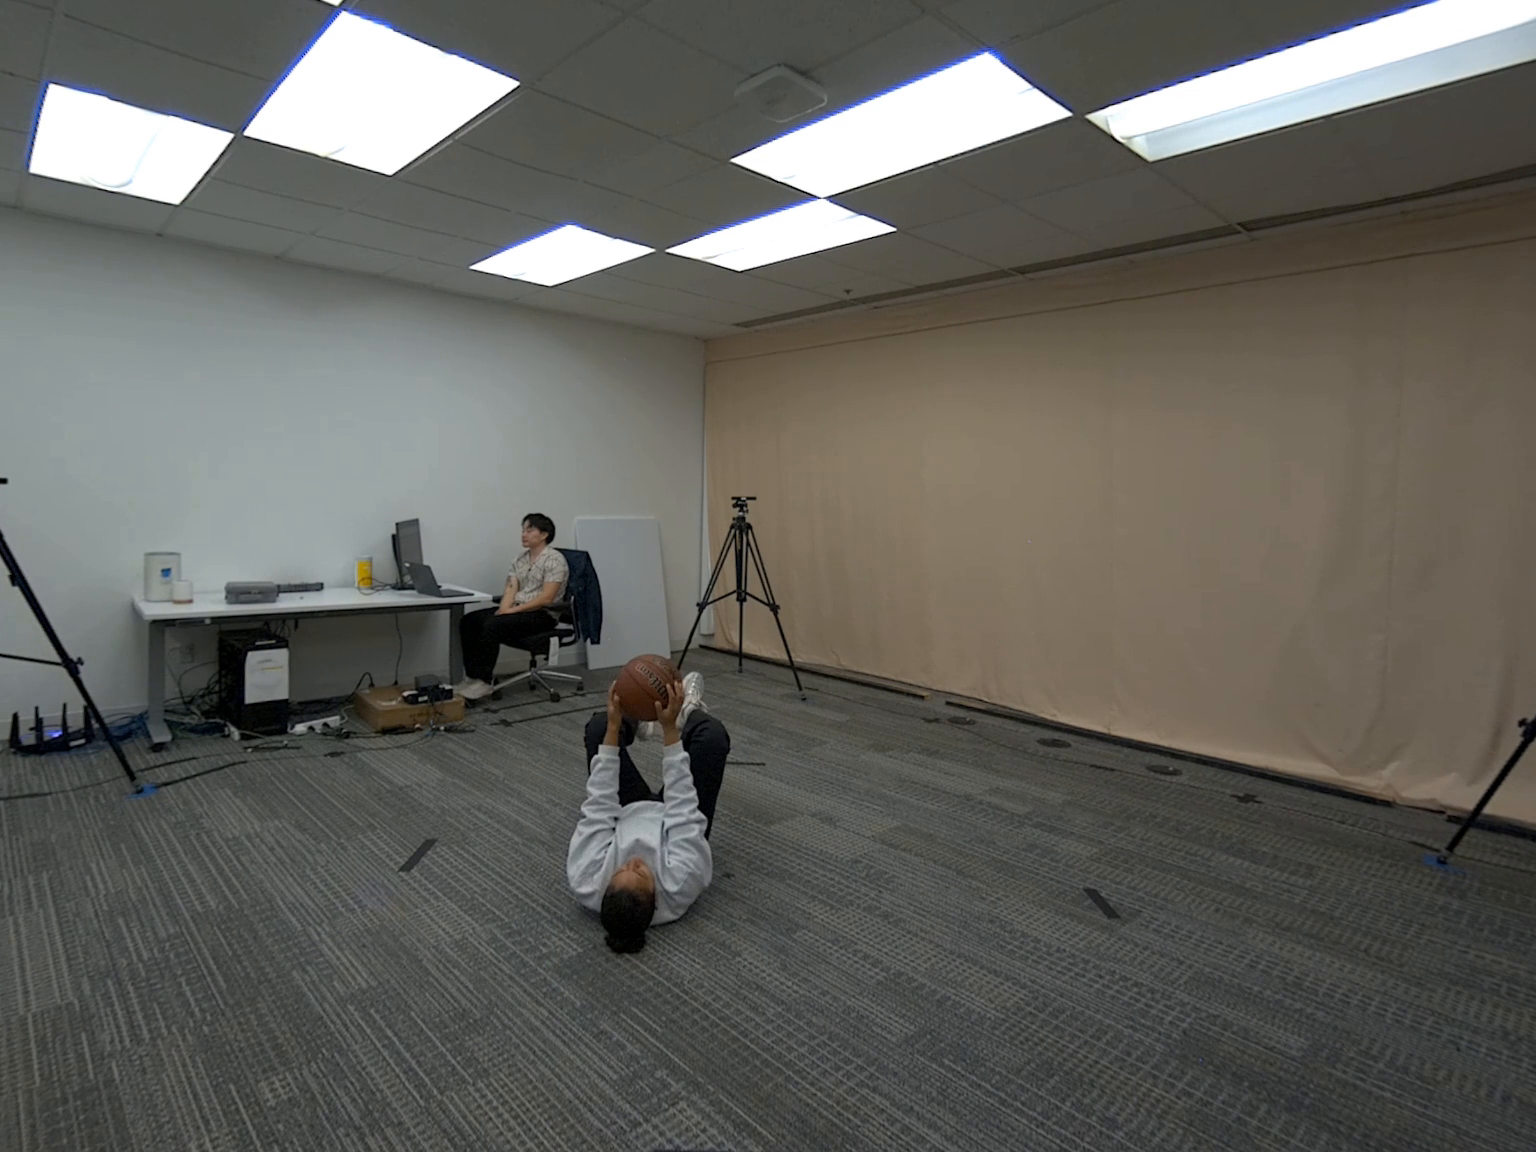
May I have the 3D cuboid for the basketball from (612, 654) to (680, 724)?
[{"bbox_3d":[-0.433,0.403,3.001,0.236,0.235,0.237,1,4,-1],"label":"basketball"}]
